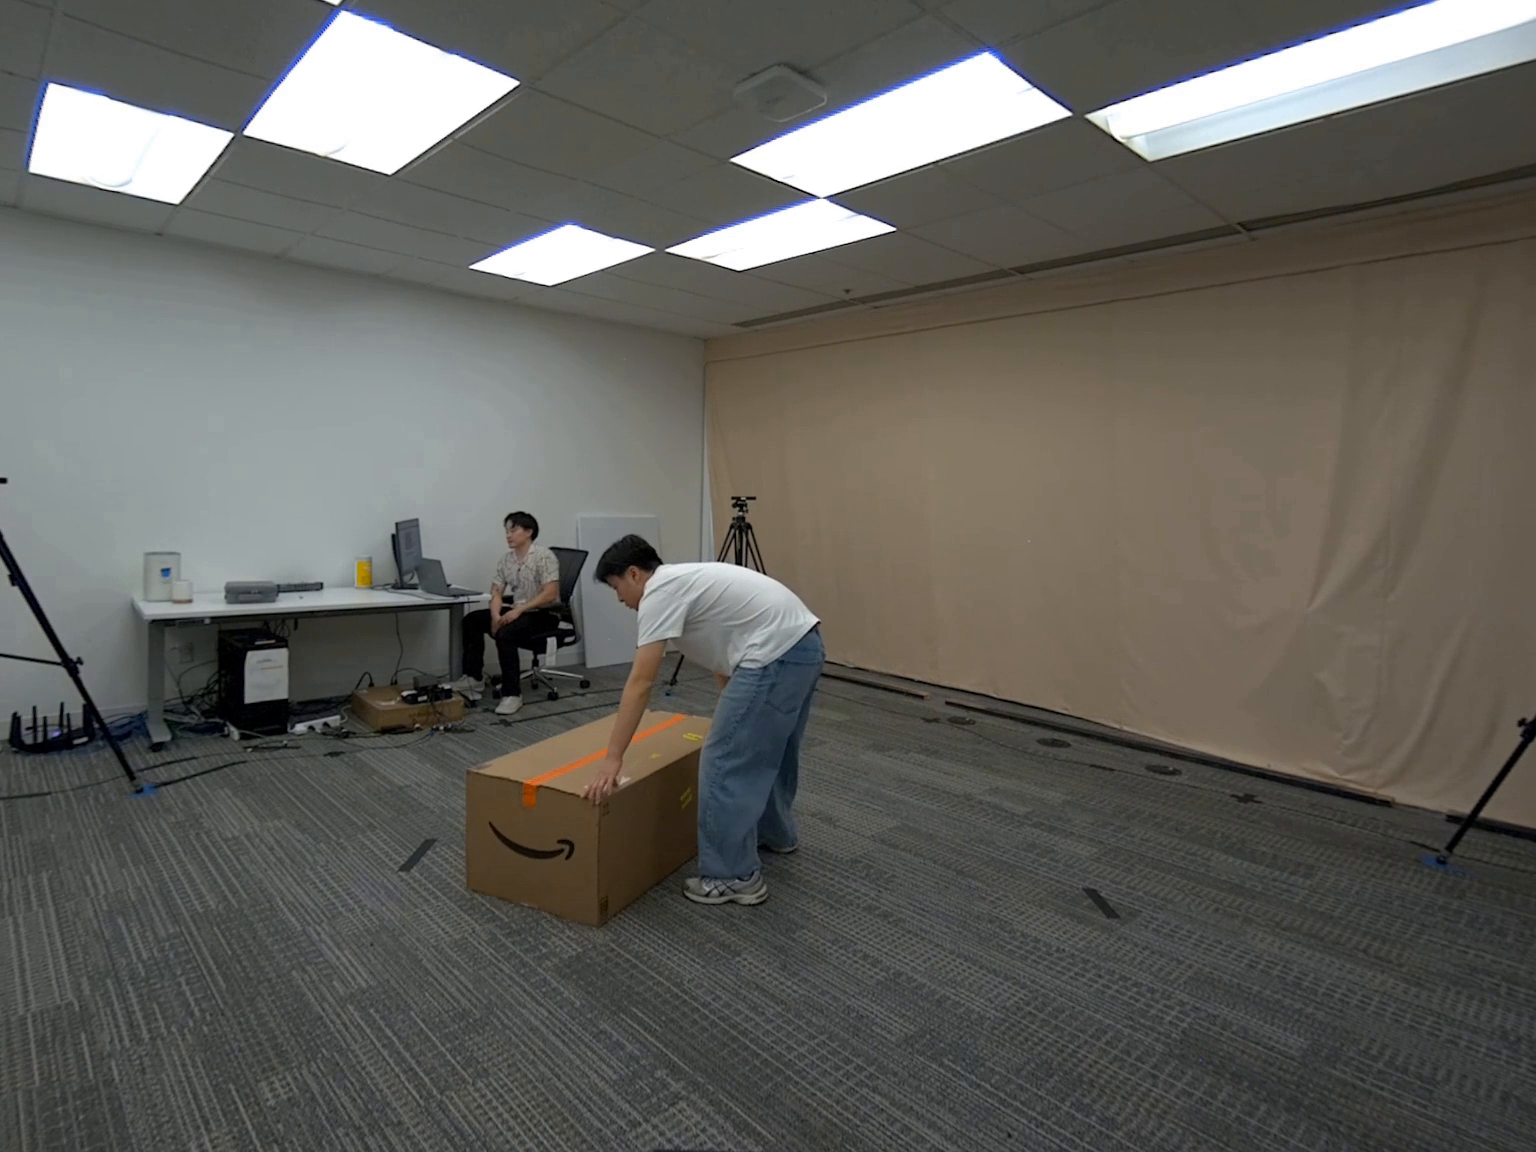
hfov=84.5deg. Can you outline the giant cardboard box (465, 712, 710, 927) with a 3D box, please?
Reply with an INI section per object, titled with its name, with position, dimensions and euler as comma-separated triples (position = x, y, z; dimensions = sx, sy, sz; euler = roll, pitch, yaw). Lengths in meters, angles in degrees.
[giant cardboard box]
position = -0.593, 0.860, 3.269
dimensions = 0.589, 0.425, 1.009
euler = 5, 6, 25
